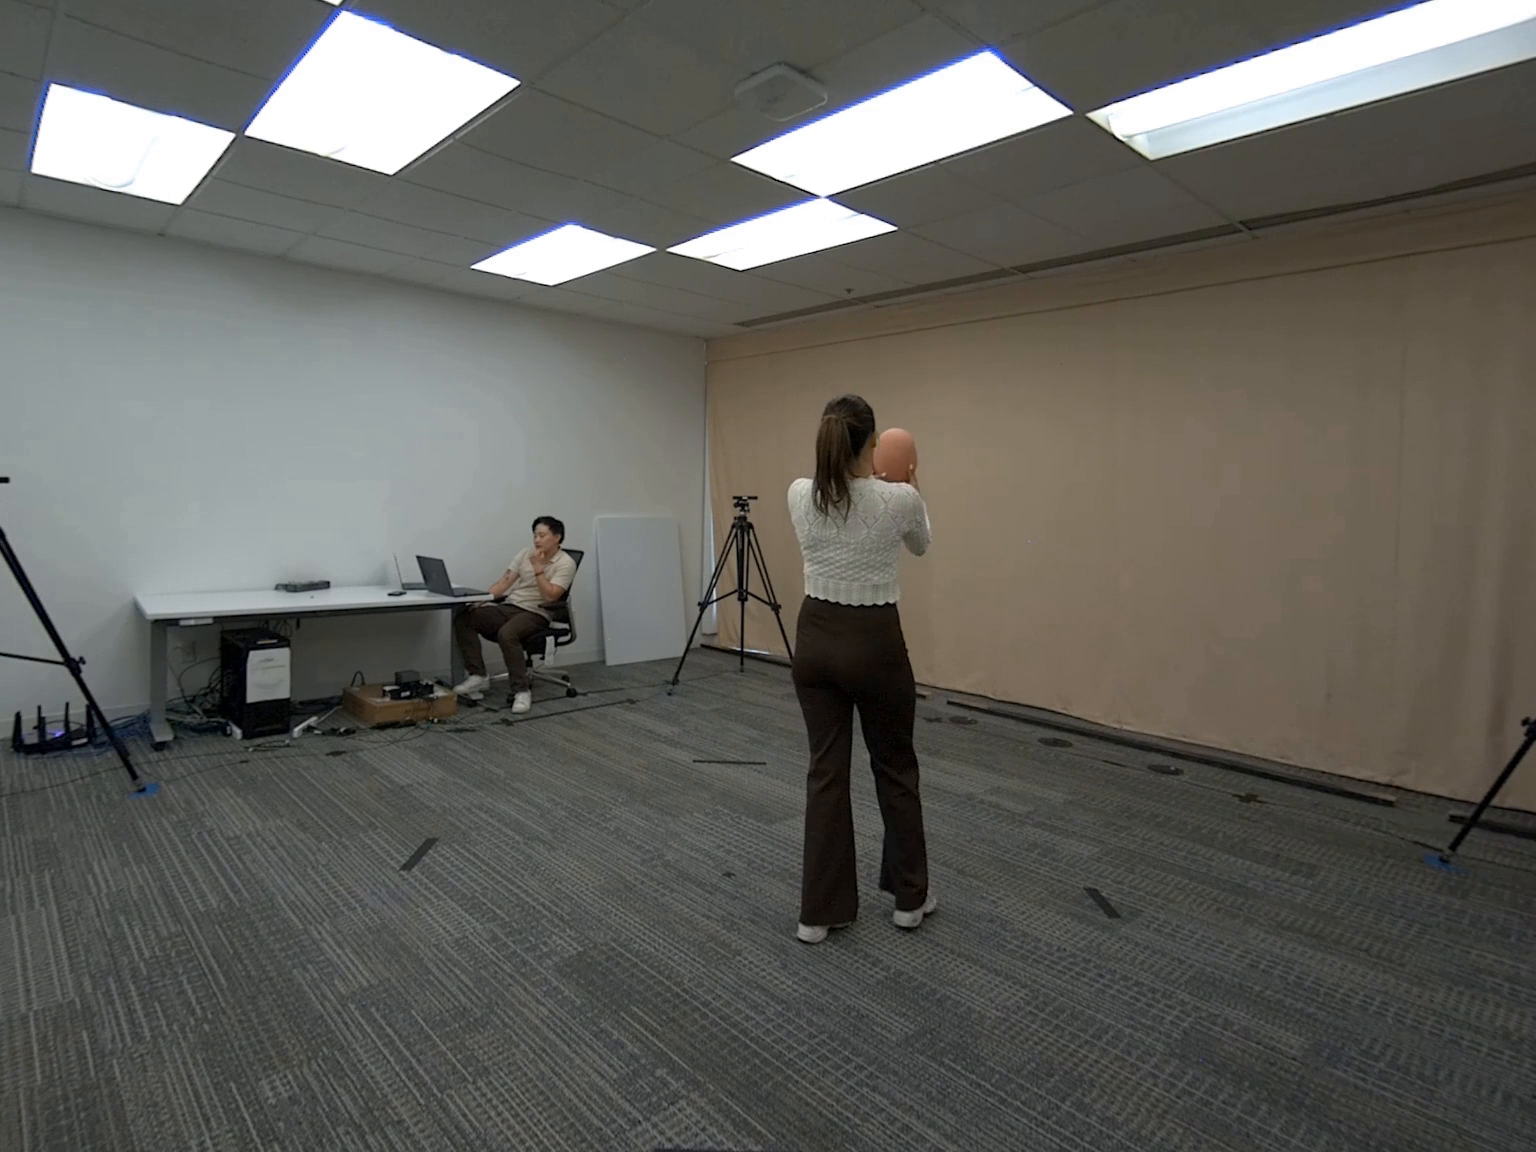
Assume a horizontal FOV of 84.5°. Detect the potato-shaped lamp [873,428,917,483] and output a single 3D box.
[{"bbox_3d":[0.459,-0.442,3.057,0.167,0.194,0.173,12,39,14],"label":"potato-shaped lamp"}]
